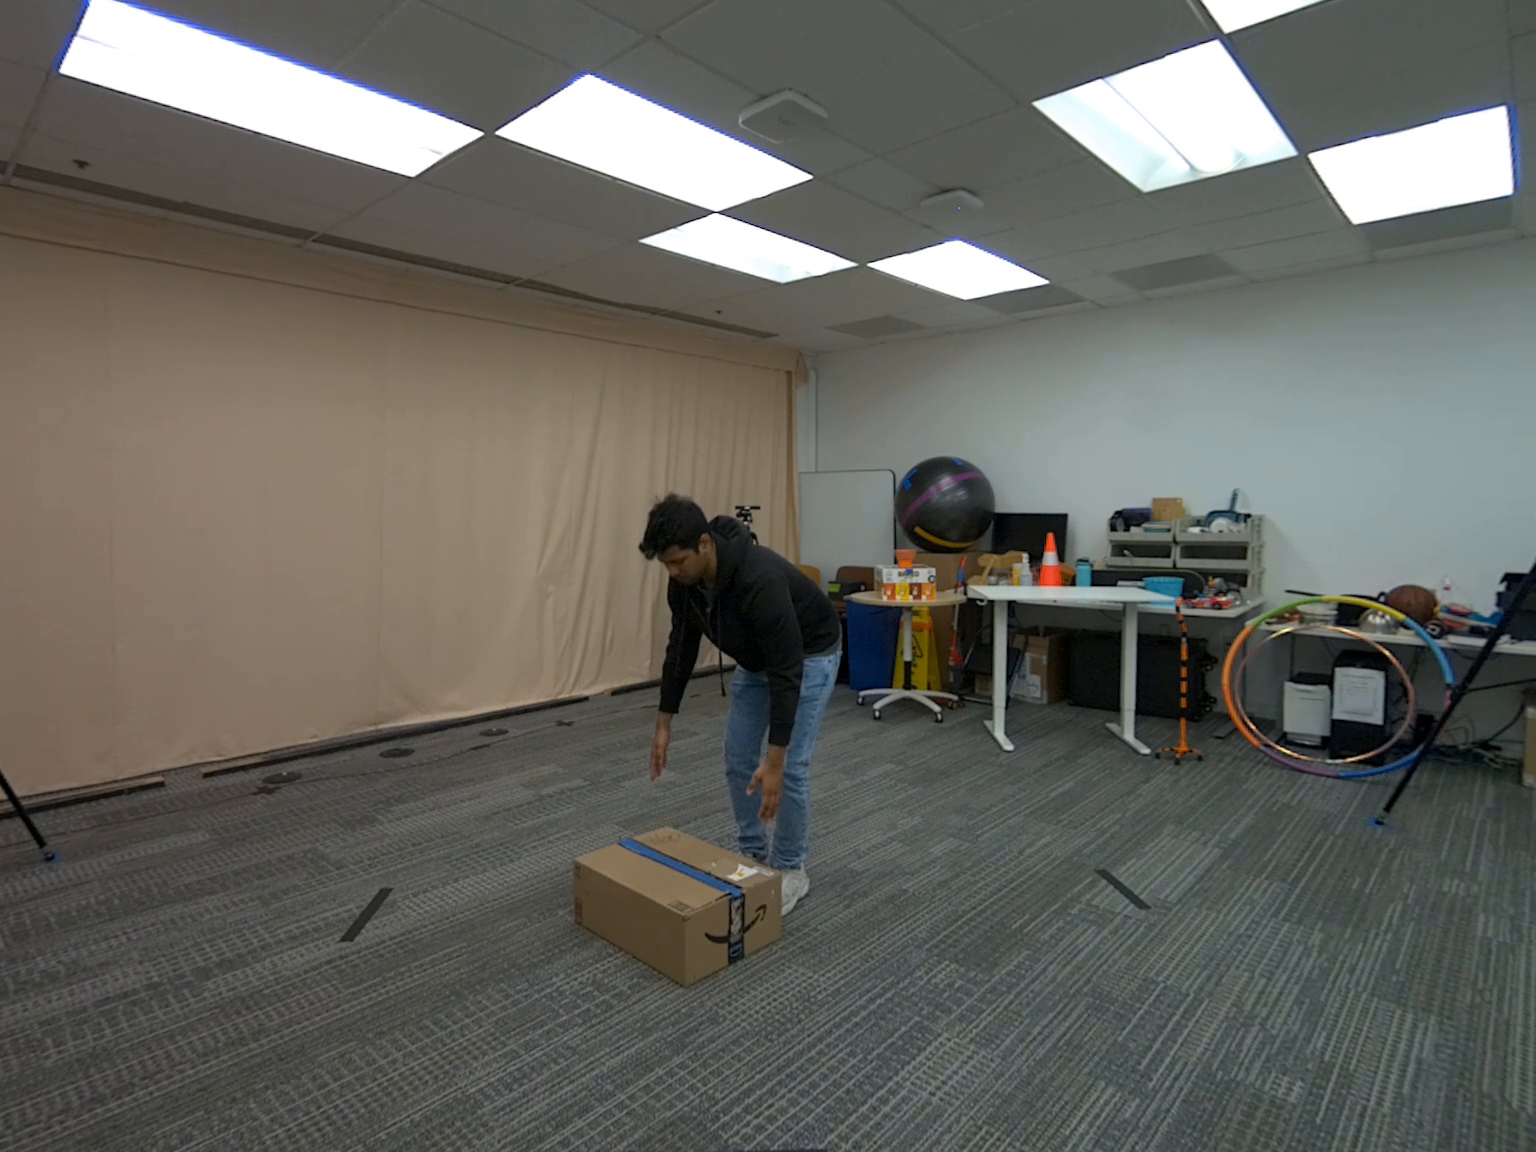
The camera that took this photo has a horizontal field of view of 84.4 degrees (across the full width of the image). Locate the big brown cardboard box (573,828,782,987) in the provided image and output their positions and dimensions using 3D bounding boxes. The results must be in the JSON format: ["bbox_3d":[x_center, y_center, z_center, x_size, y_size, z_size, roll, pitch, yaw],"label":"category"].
[{"bbox_3d":[-0.300,1.052,2.761,0.608,0.233,0.405,3,5,44],"label":"big brown cardboard box"}]
